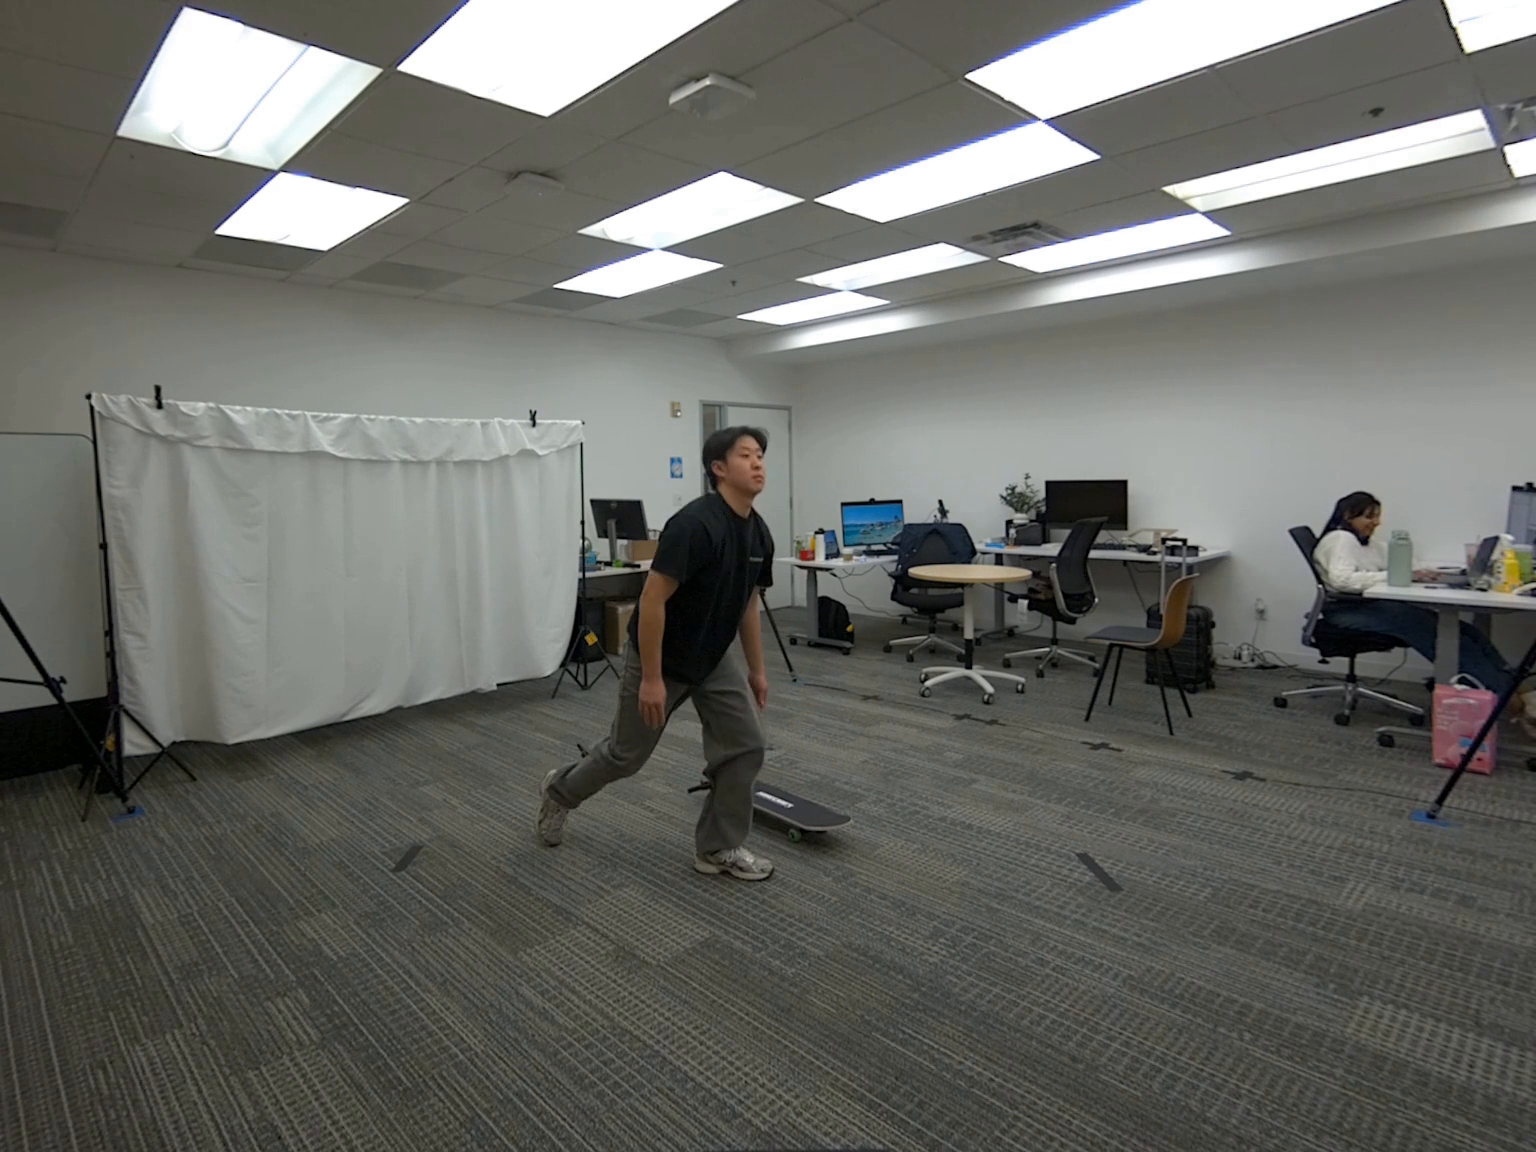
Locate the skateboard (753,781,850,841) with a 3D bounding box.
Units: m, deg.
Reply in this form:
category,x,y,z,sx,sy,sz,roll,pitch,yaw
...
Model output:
category,x,y,z,sx,sy,sz,roll,pitch,yaw
skateboard,0.029,0.947,3.491,0.188,0.110,0.810,-6,8,-40
